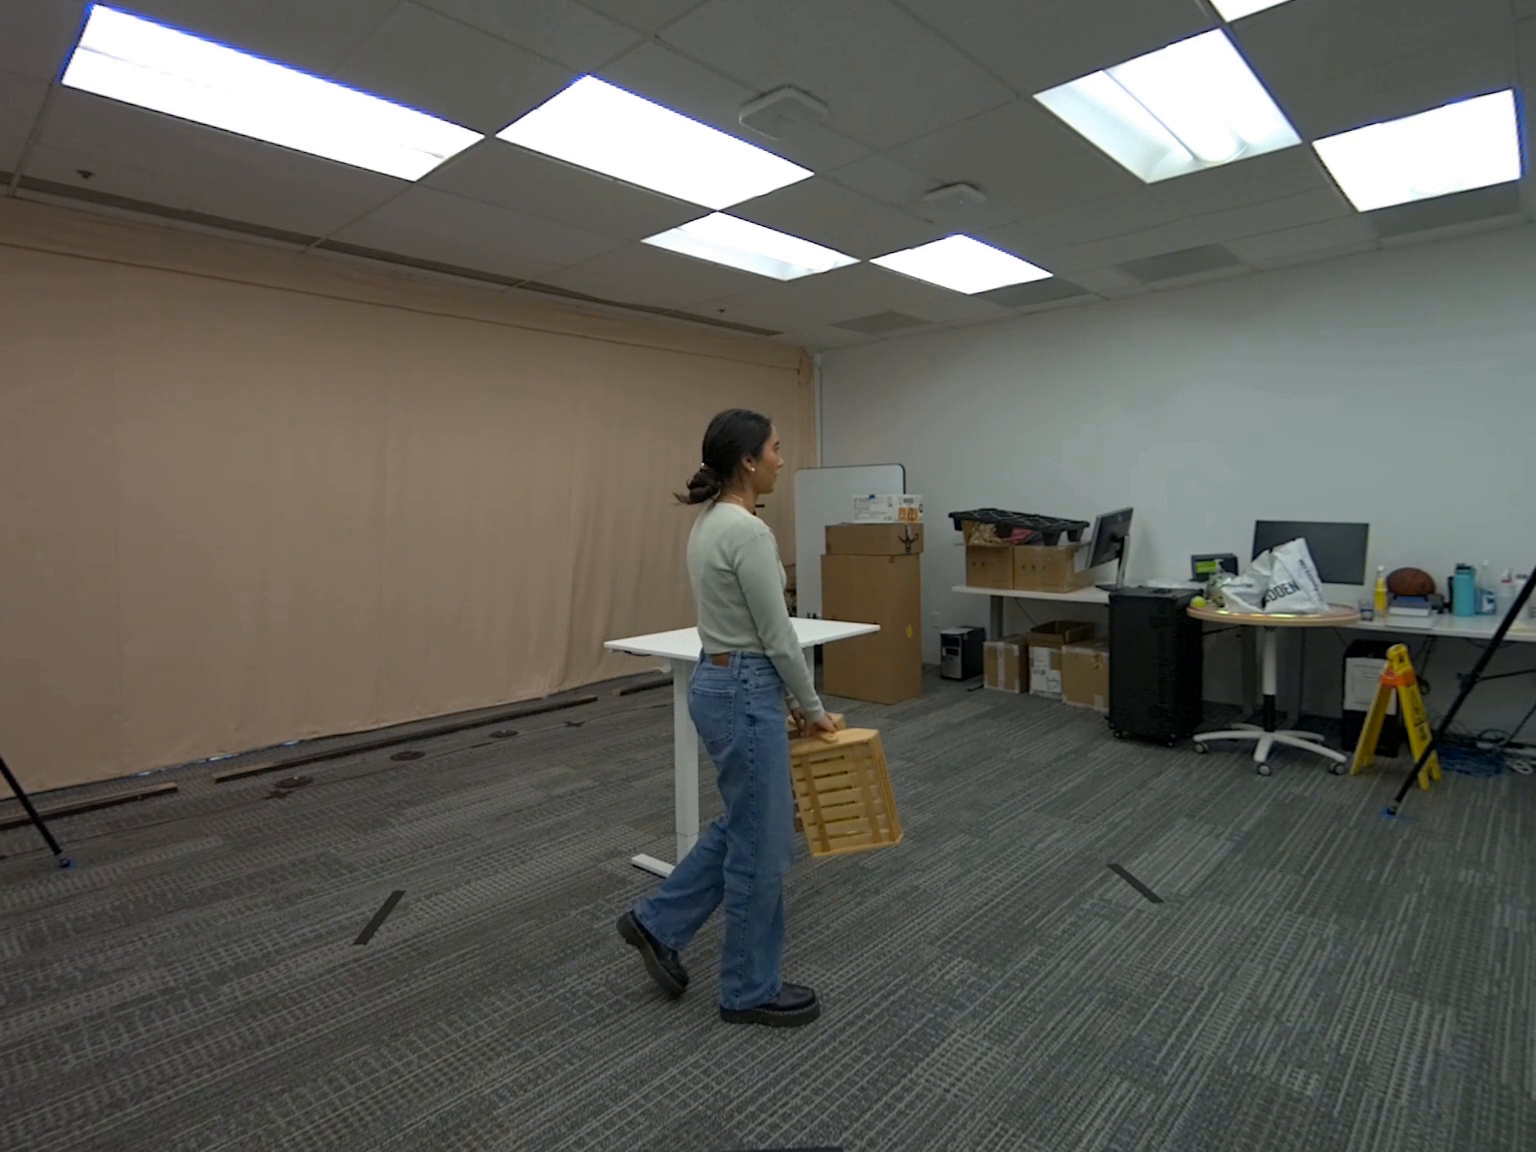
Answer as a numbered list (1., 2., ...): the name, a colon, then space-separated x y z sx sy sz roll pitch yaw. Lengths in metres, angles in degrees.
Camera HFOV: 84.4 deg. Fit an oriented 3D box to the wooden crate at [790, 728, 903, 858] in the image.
1. wooden crate: 0.184 0.564 2.351 0.304 0.322 0.273 -13 8 8
